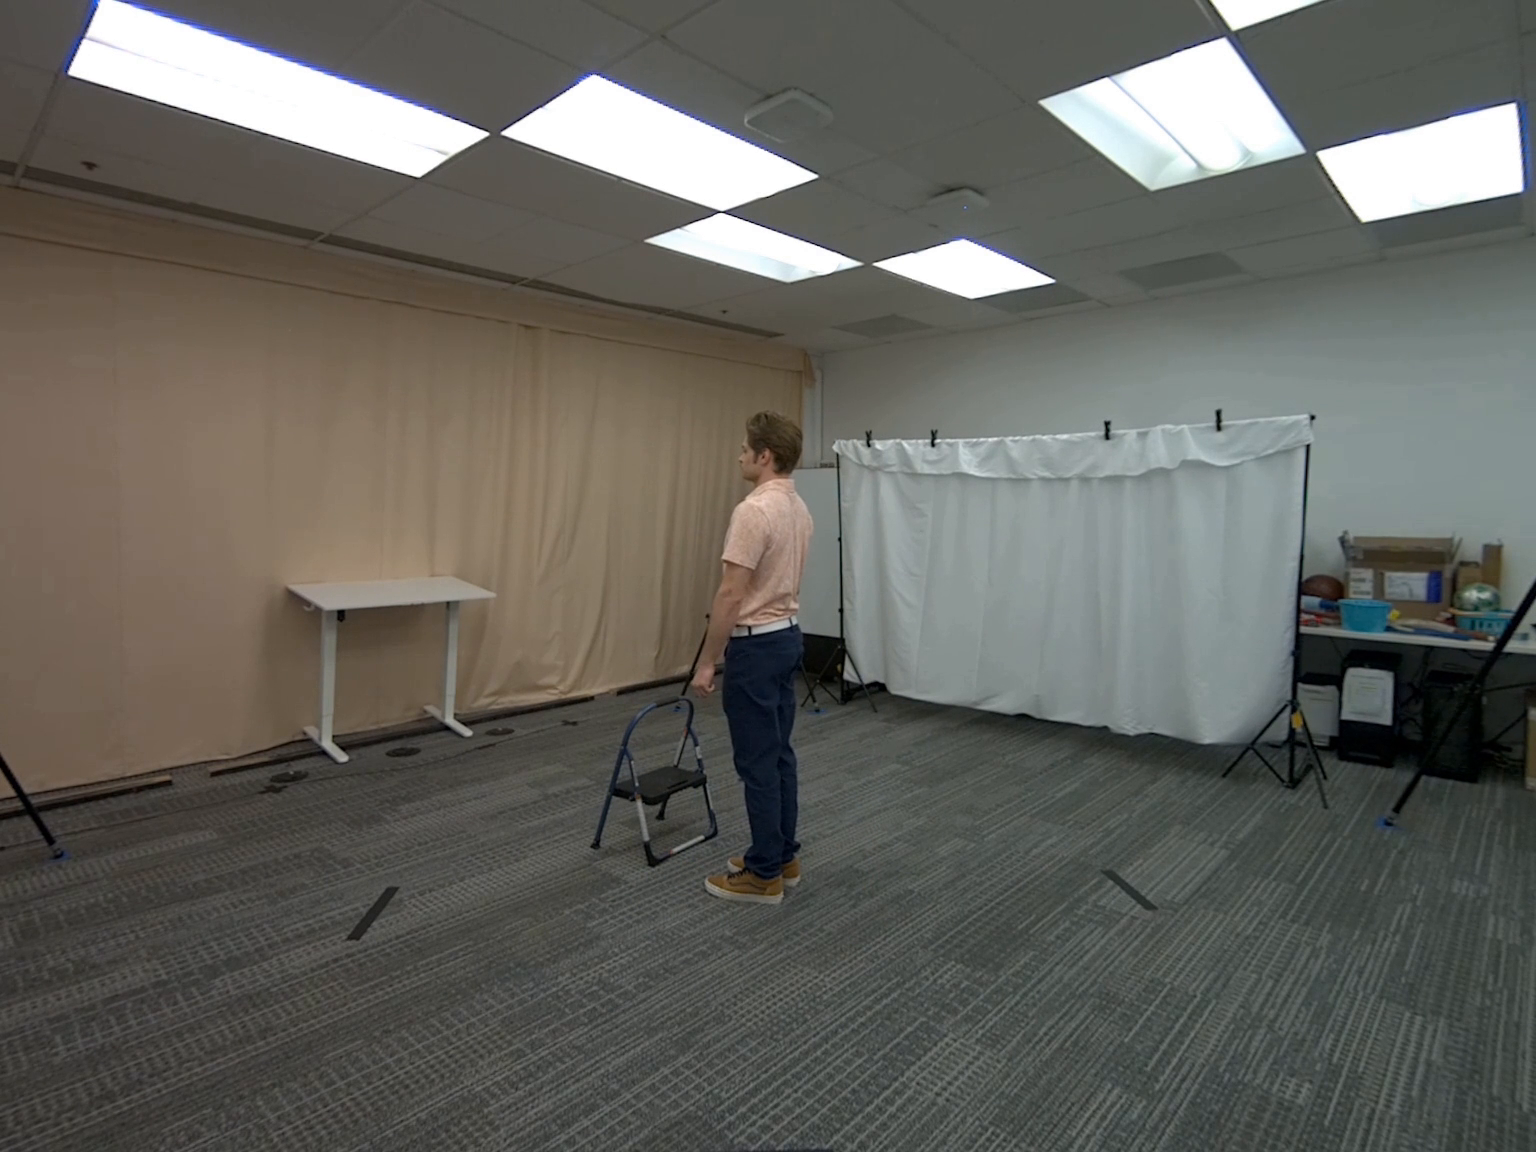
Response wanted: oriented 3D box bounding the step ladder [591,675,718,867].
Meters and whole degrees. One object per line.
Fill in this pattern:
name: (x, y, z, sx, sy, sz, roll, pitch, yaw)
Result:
step ladder: (-0.473, 0.802, 3.497, 0.360, 0.605, 0.418, 1, 3, 36)
